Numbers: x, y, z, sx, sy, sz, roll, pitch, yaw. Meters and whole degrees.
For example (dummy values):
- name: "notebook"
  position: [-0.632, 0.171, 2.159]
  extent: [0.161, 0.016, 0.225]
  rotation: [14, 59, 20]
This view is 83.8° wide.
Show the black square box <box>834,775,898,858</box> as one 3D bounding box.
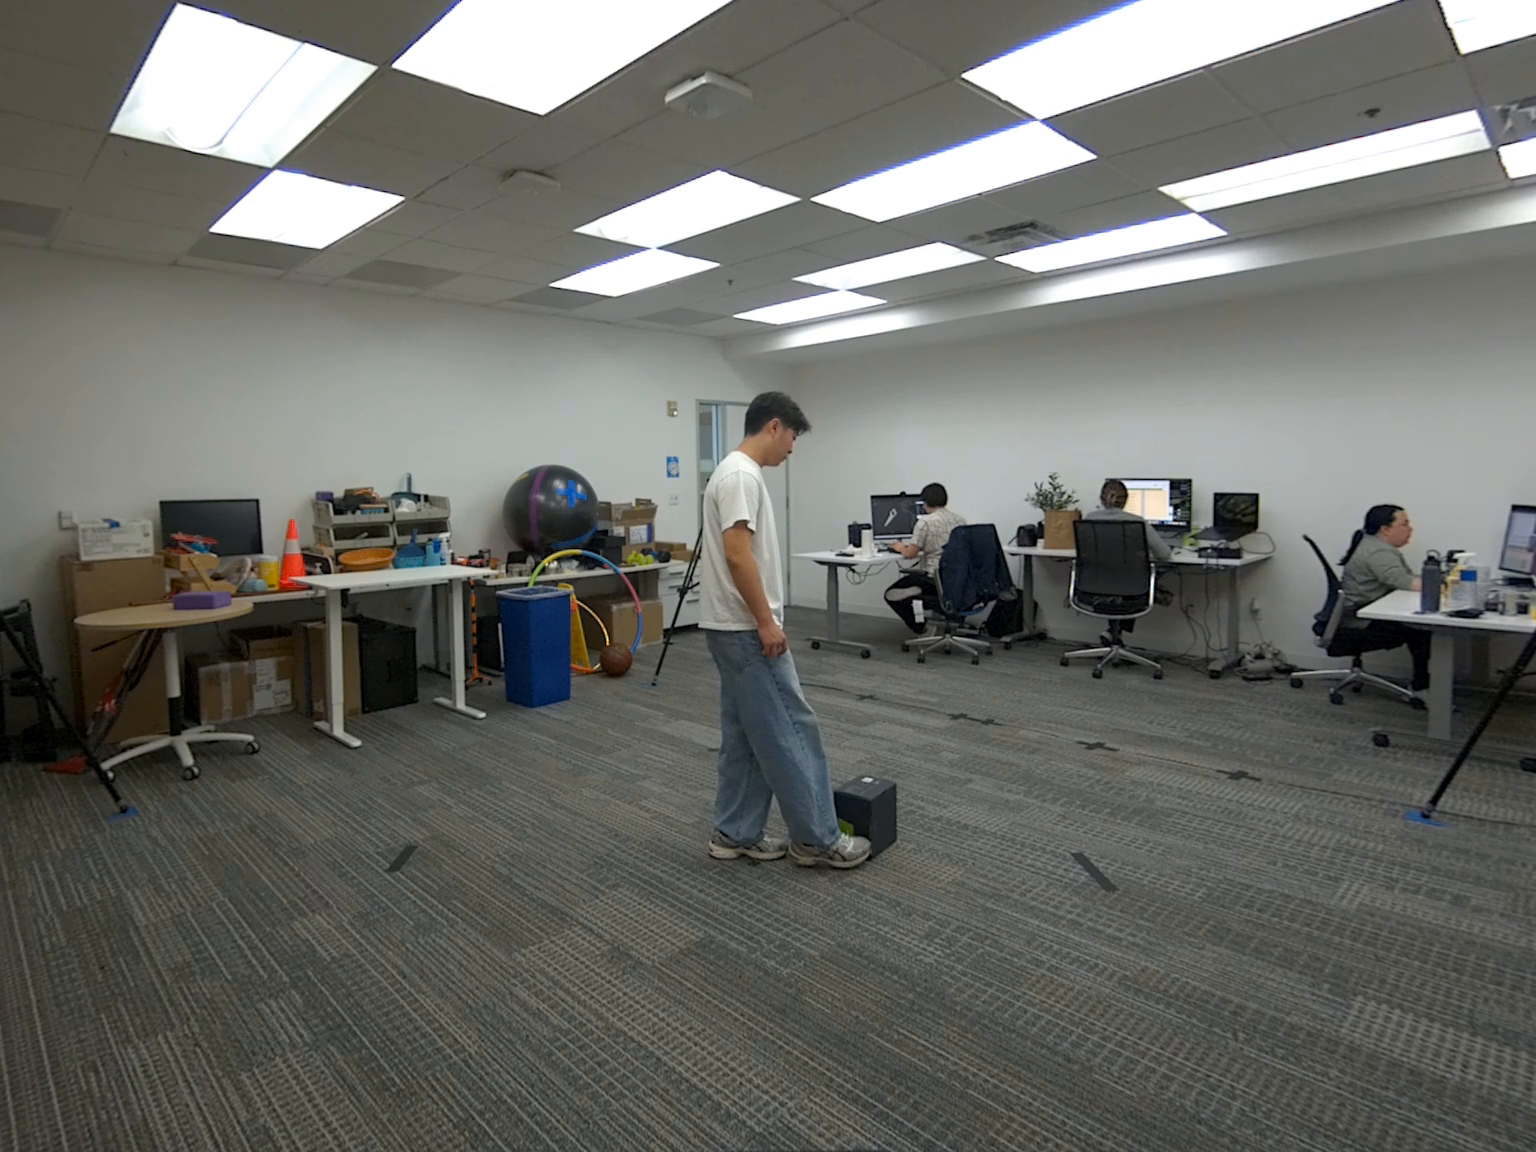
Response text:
- name: "black square box"
  position: [0.366, 0.902, 3.225]
  extent: [0.160, 0.227, 0.212]
  rotation: [2, 6, 34]
